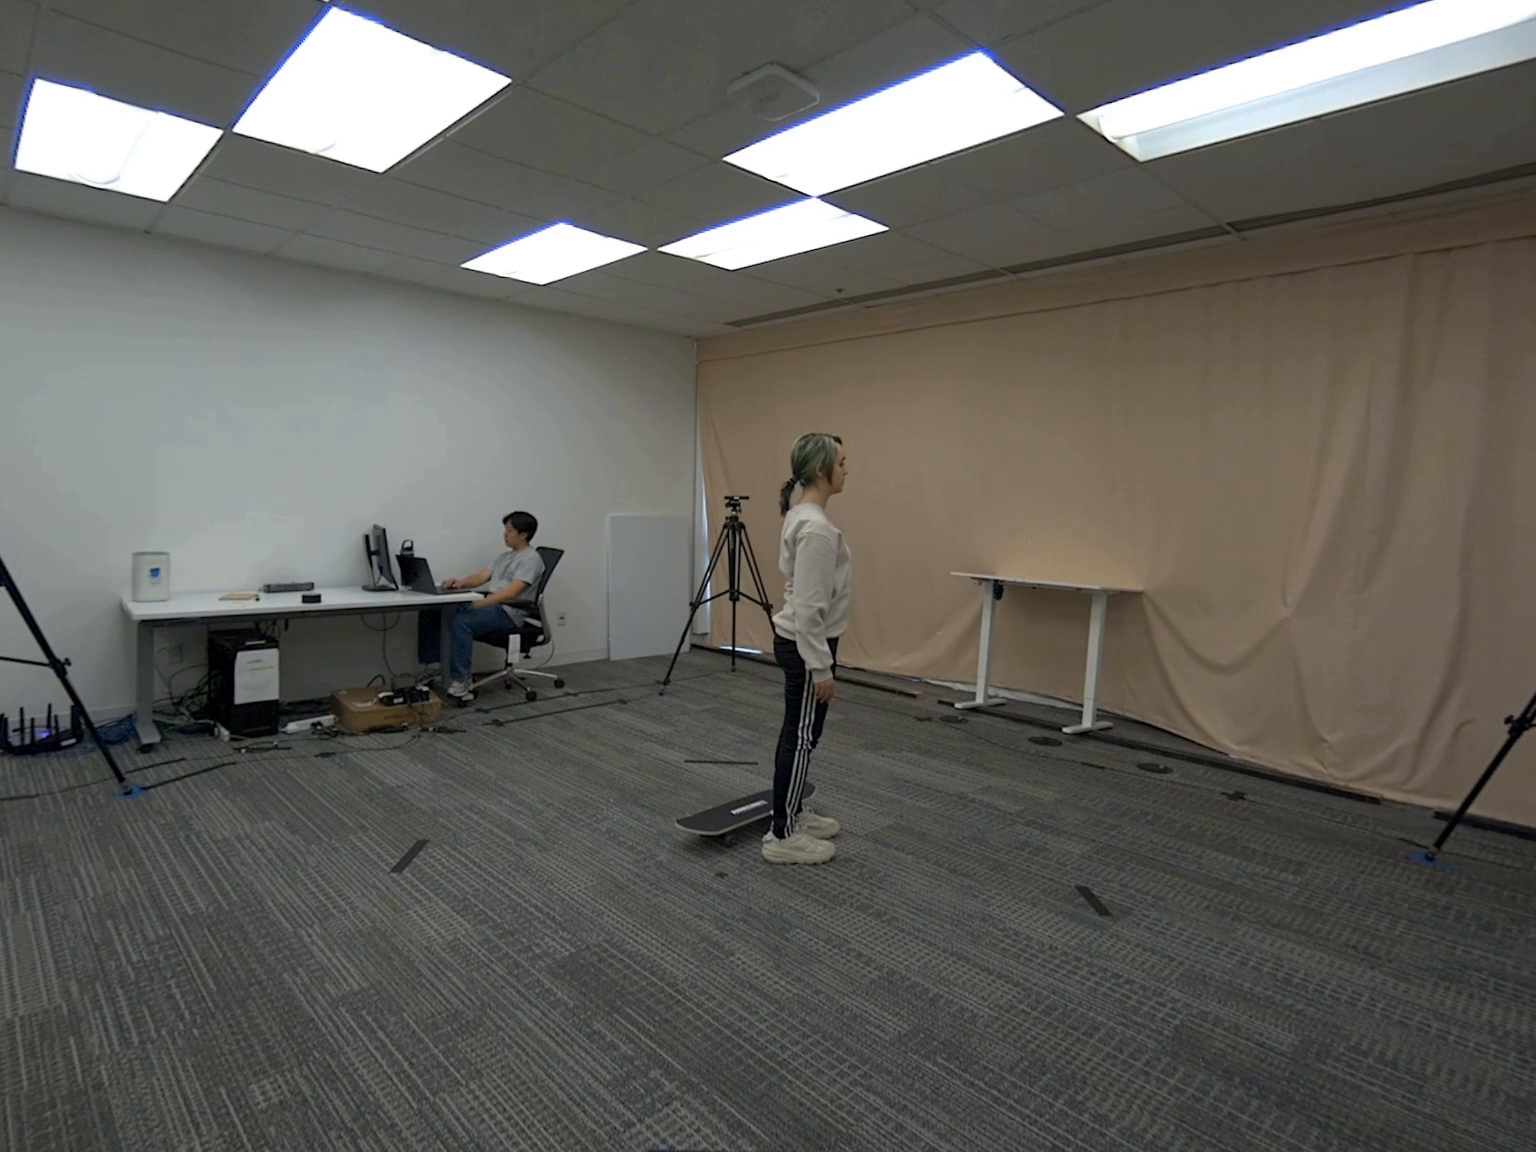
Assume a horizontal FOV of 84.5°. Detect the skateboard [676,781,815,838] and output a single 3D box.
[{"bbox_3d":[-0.082,1.008,3.558,0.198,0.110,0.768,6,6,42],"label":"skateboard"}]
